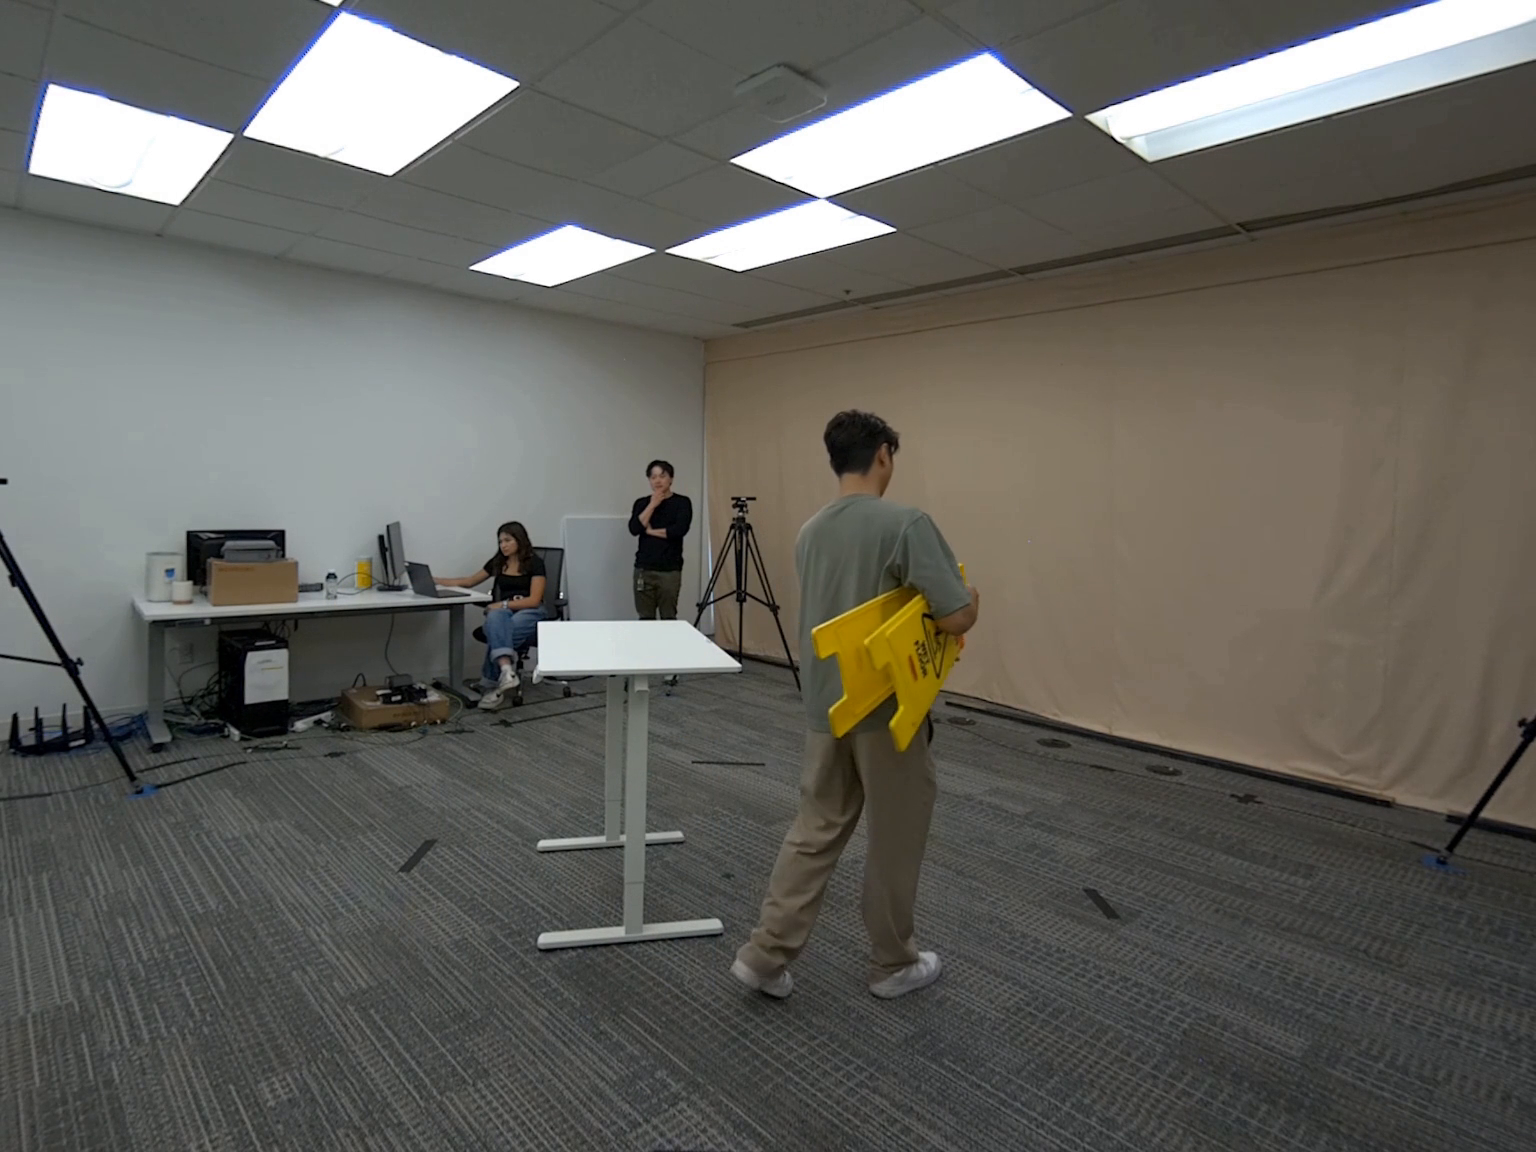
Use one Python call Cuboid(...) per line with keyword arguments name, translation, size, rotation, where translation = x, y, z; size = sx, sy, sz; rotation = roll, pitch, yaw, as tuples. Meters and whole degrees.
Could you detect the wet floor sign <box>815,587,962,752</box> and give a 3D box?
Cuboid(name="wet floor sign", translation=(0.365, 0.176, 2.194), size=(0.296, 0.279, 0.639), rotation=(0, 19, 39))
